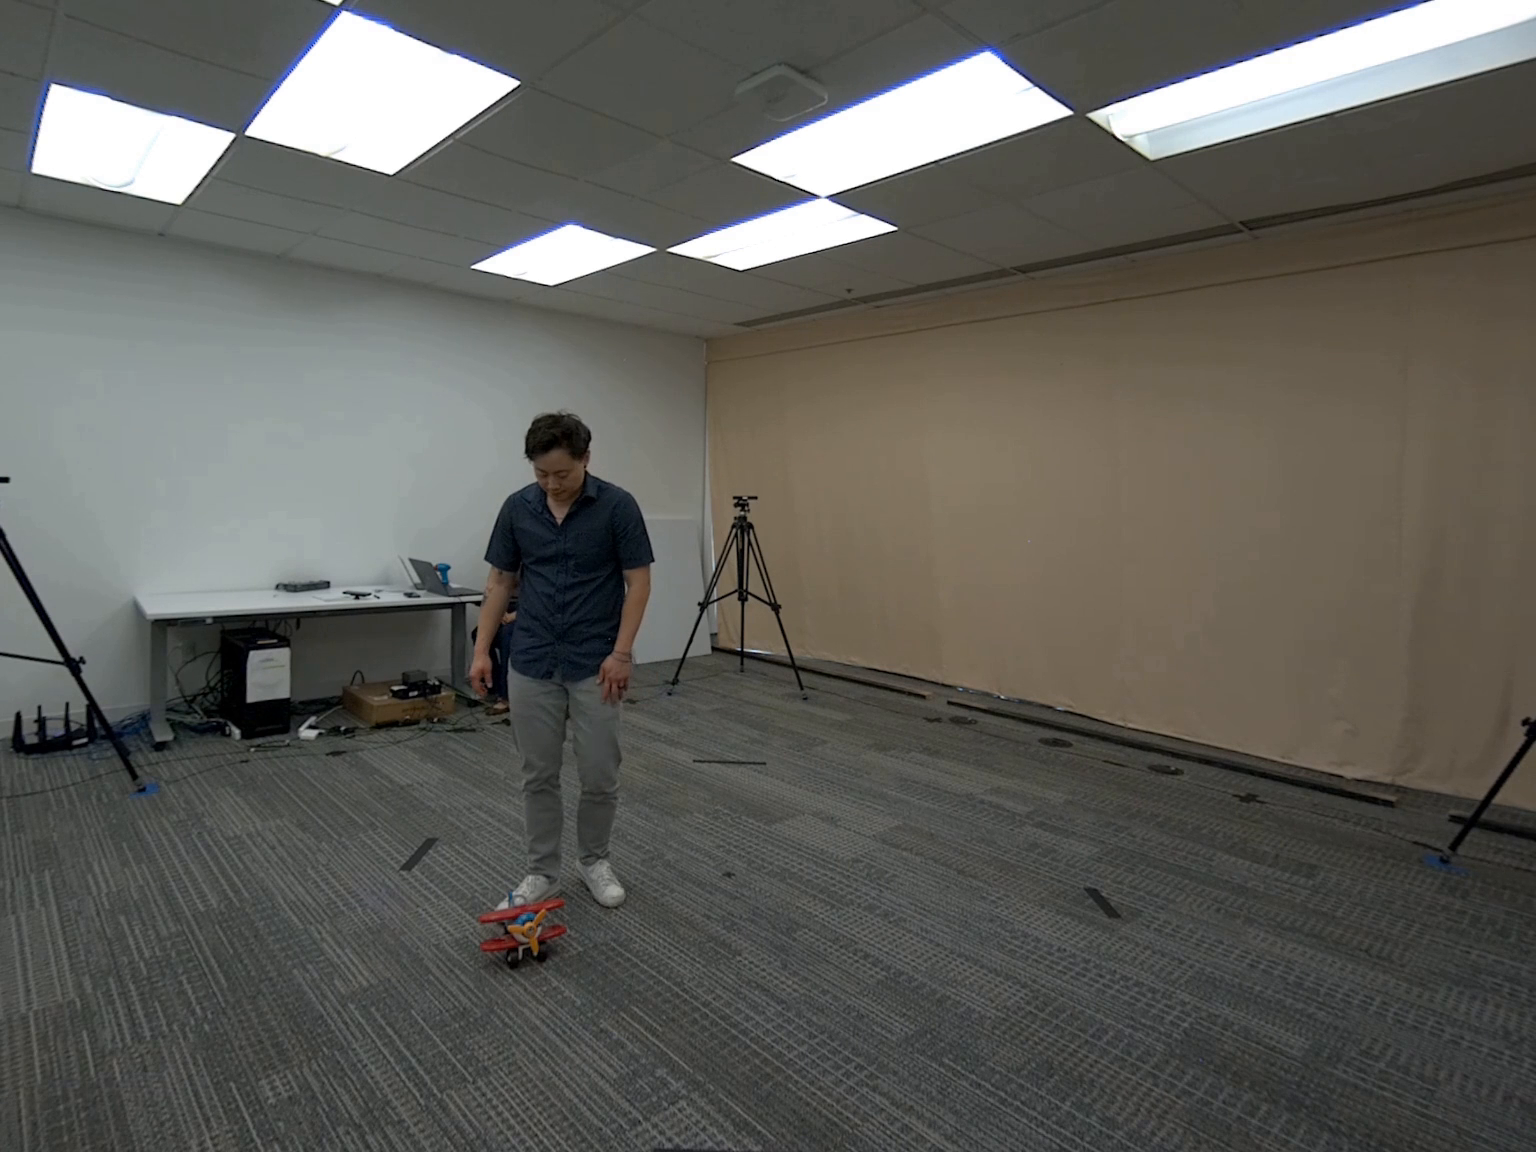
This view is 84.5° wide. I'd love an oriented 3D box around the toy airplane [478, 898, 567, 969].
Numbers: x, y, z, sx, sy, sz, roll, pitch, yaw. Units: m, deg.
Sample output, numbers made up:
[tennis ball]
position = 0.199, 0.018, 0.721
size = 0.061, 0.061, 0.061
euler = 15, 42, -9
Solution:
[toy airplane]
position = -0.784, 1.072, 2.549
size = 0.265, 0.156, 0.246
euler = 6, 7, 32
